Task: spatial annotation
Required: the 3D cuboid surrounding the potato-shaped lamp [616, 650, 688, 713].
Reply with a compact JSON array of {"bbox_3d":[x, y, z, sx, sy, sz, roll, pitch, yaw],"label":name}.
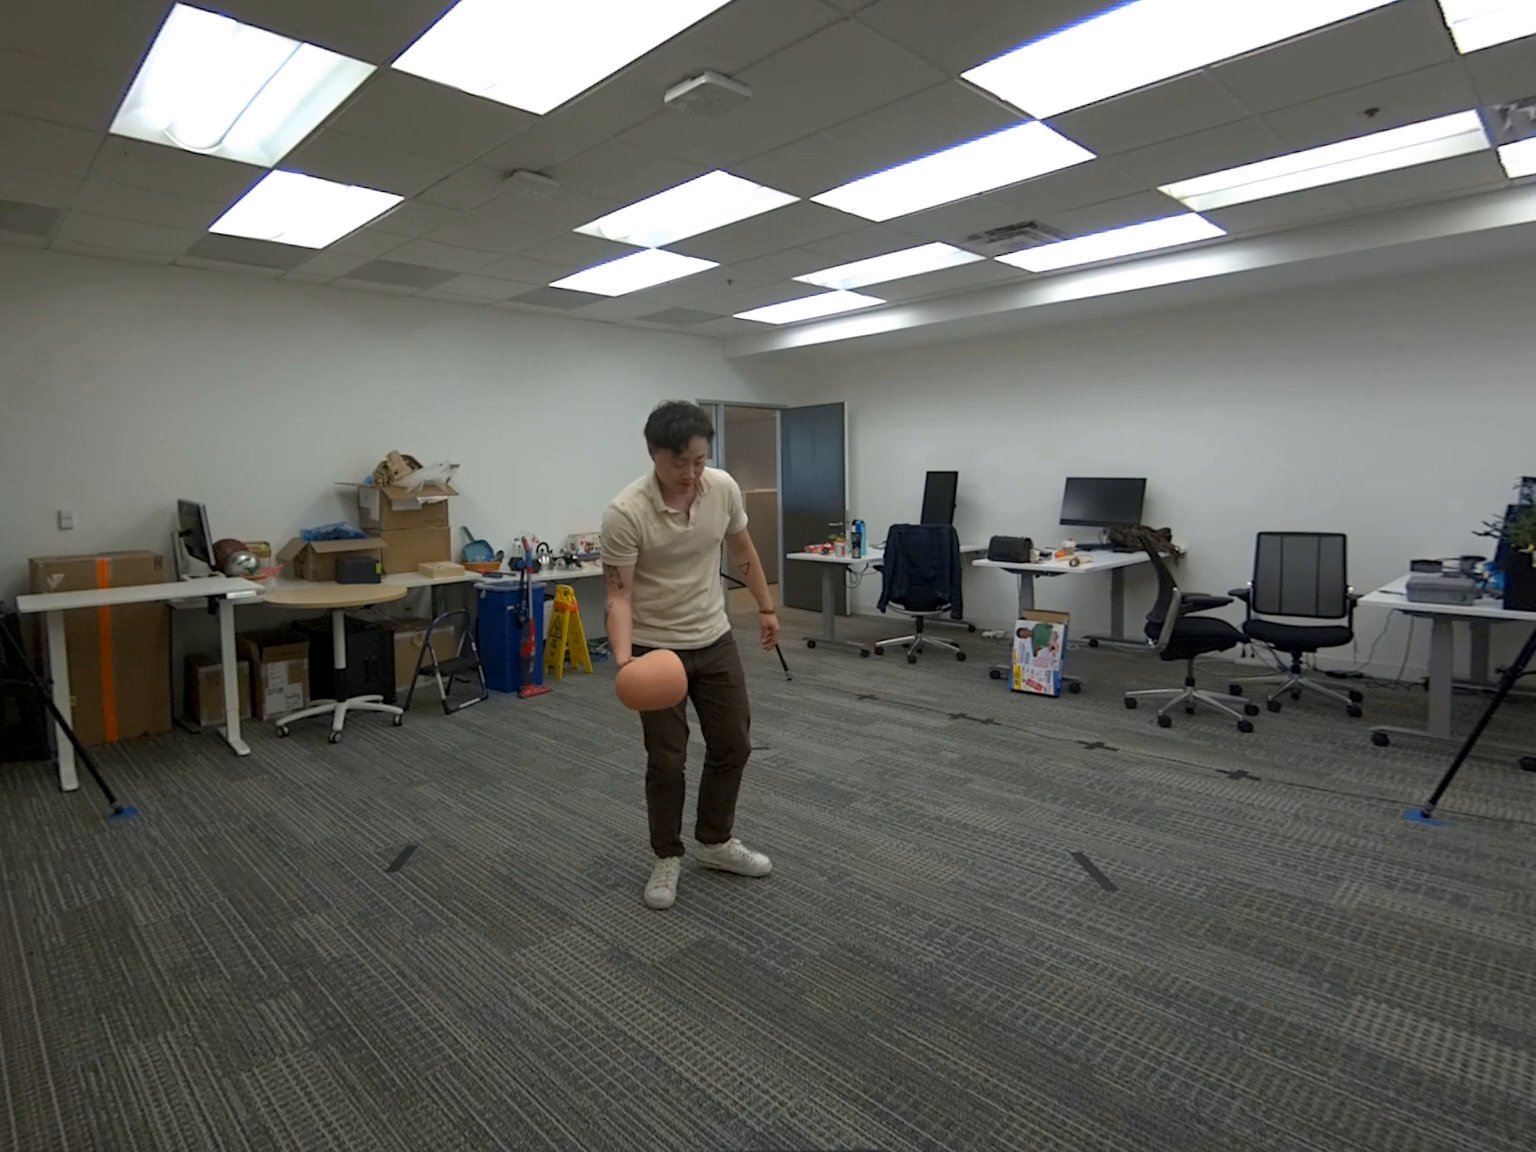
[{"bbox_3d":[-0.339,0.304,2.403,0.195,0.165,0.174,-13,0,-24],"label":"potato-shaped lamp"}]
